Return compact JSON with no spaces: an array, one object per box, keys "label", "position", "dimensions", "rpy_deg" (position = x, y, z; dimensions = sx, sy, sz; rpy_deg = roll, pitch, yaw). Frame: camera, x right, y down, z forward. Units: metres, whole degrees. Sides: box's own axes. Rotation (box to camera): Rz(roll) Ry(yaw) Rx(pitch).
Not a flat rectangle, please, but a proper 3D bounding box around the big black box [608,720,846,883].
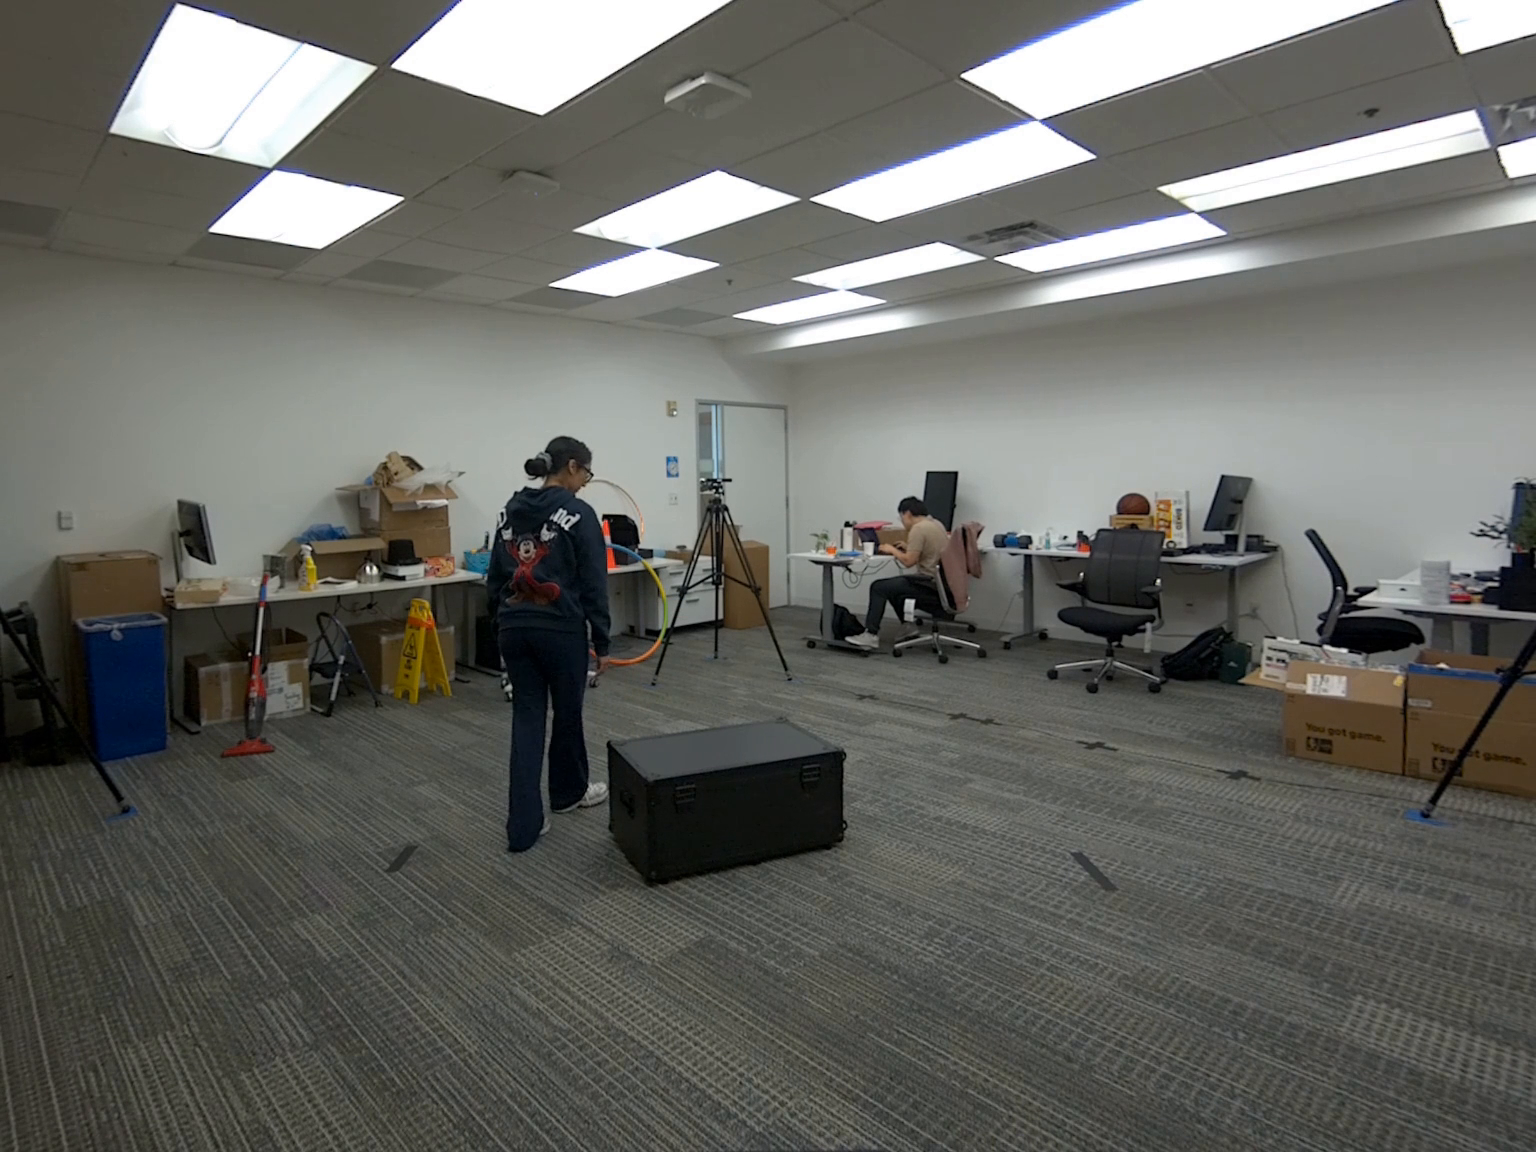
[{"label":"big black box","position":[-0.139,0.853,3.289],"dimensions":[0.844,0.519,0.406],"rpy_deg":[-3,6,-25]}]
